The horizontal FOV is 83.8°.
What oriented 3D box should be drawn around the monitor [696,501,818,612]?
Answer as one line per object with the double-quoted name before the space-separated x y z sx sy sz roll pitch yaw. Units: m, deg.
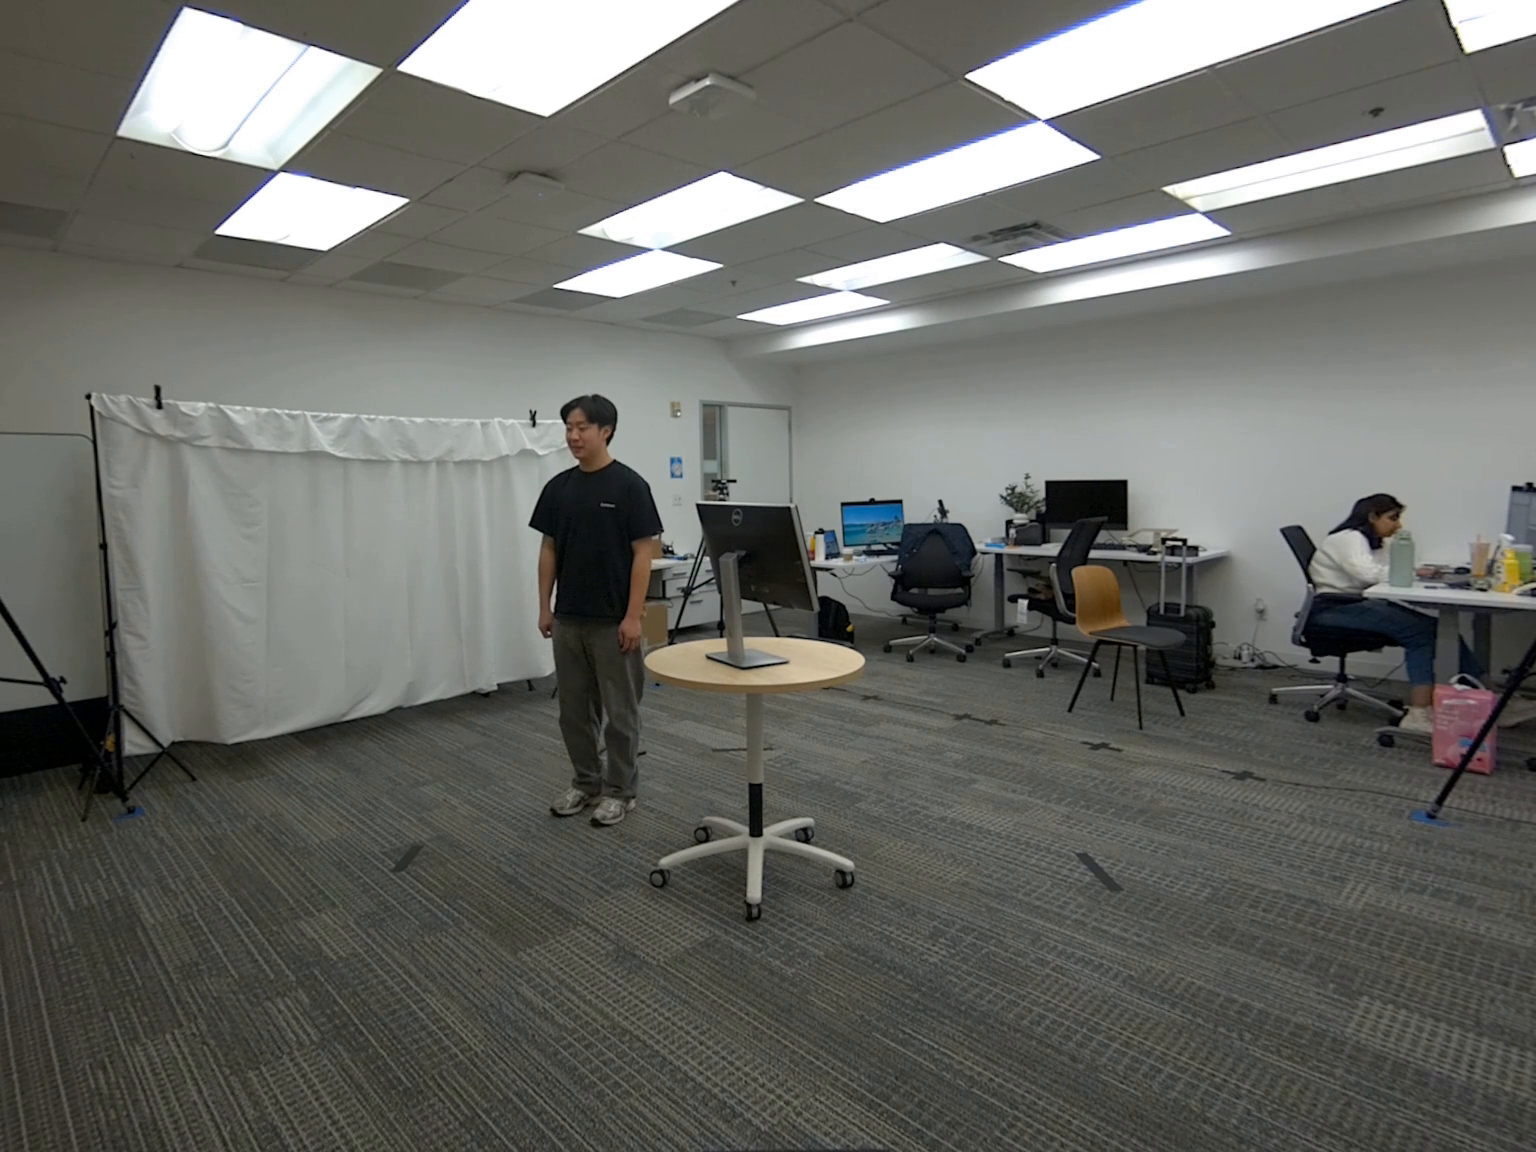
"monitor" -0.068 0.029 2.931 0.216 0.564 0.578 -2 5 -33
